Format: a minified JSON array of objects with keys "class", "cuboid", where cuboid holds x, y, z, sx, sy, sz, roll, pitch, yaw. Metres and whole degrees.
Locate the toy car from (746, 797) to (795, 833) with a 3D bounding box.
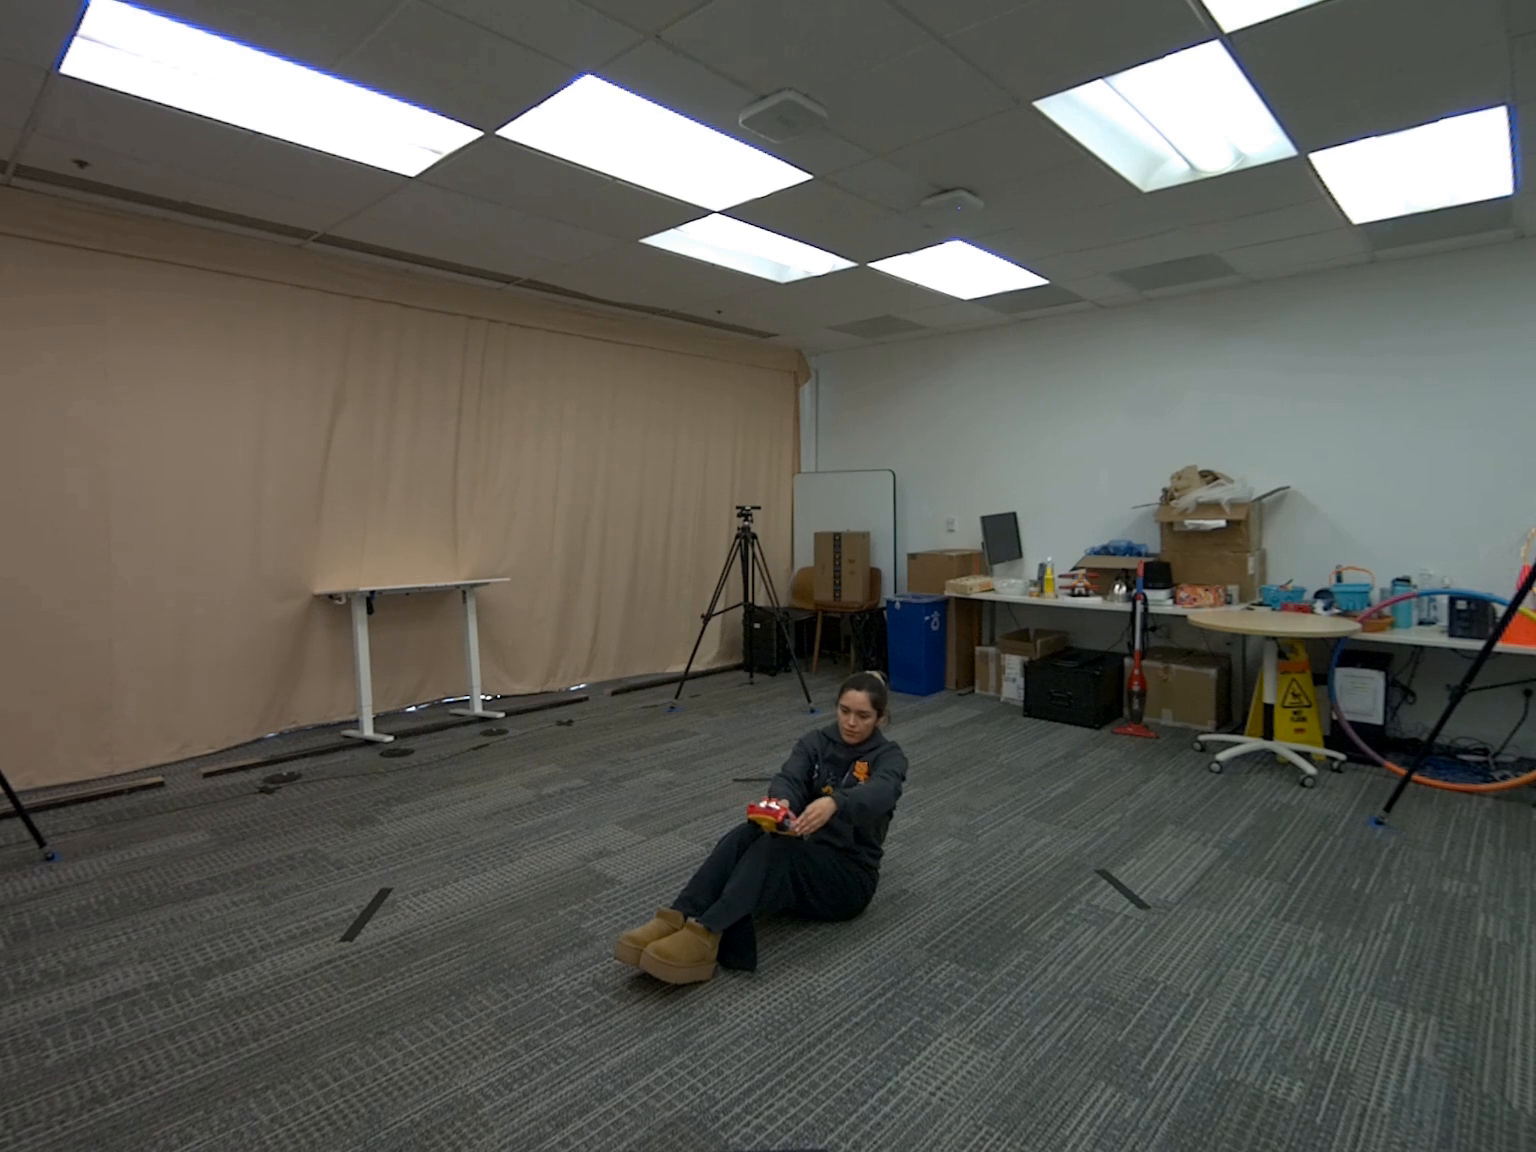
[{"class":"toy car","cuboid":[0.042,0.706,2.415,0.134,0.084,0.246,-4,-39,29]}]
